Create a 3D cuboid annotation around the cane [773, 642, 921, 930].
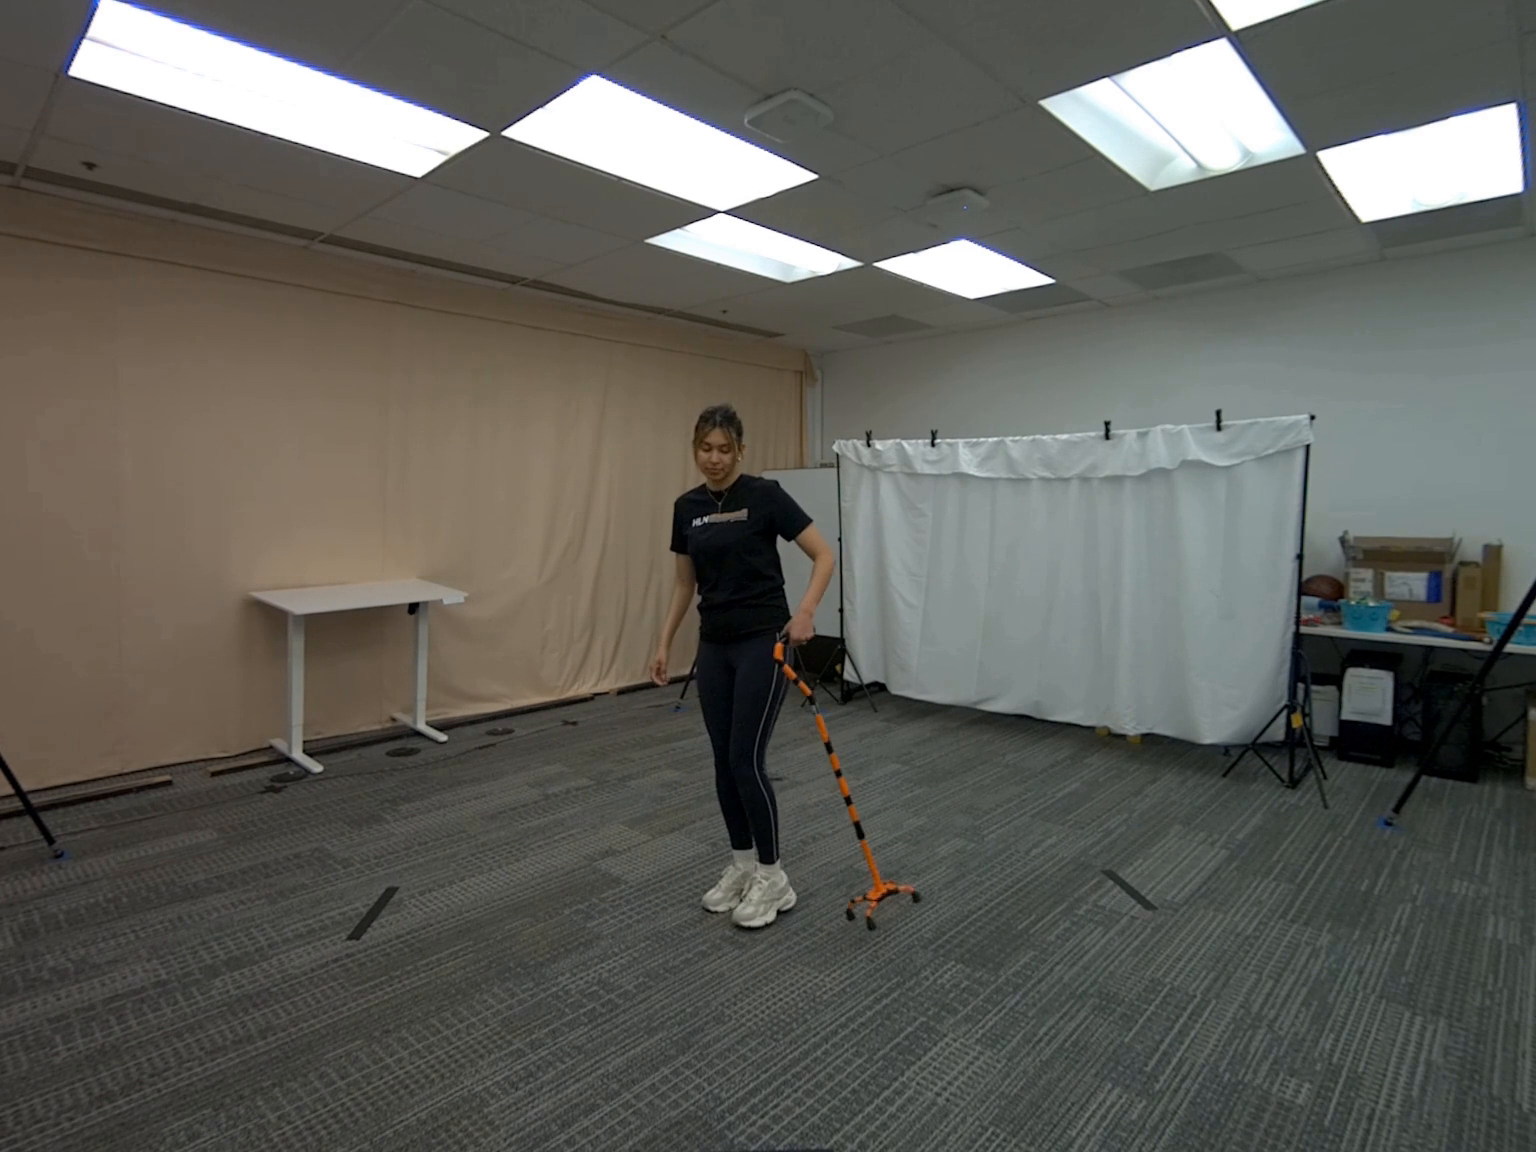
[{"bbox_3d":[0.220,0.621,2.634,0.203,0.910,0.154,-17,-2,-23],"label":"cane"}]
